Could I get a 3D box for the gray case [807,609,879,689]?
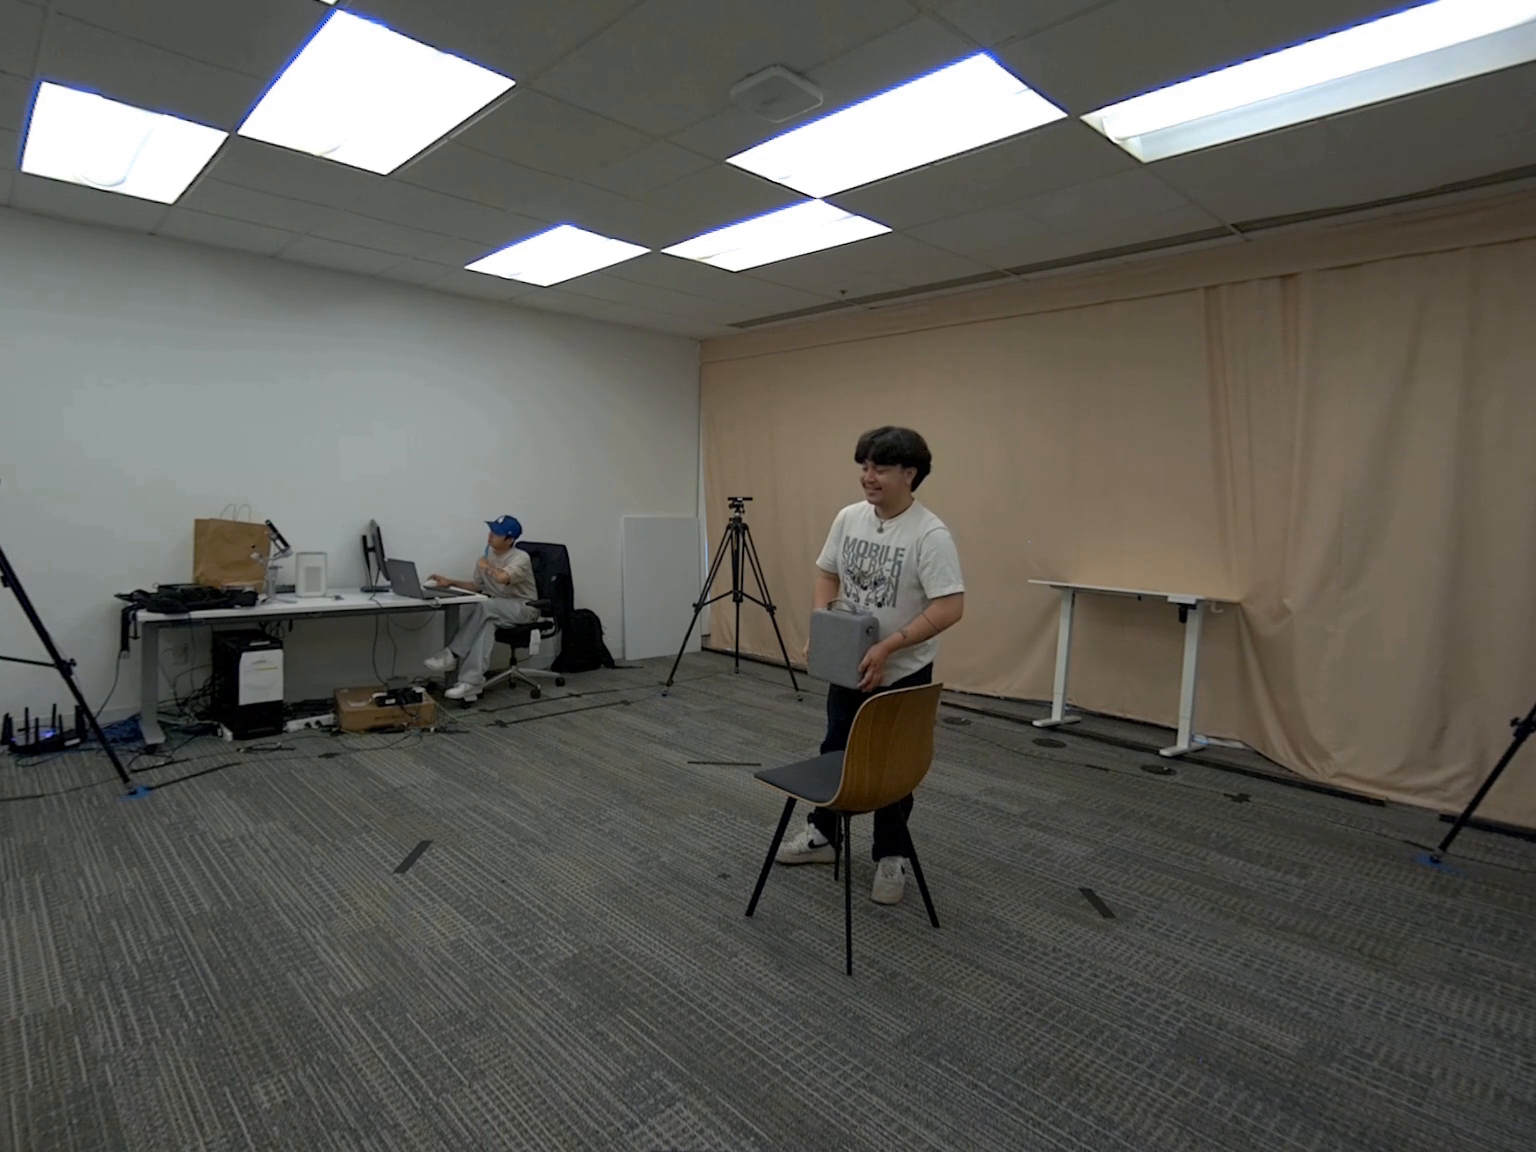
[{"bbox_3d":[0.247,0.241,2.914,0.102,0.260,0.263,-3,6,-39],"label":"gray case"}]
